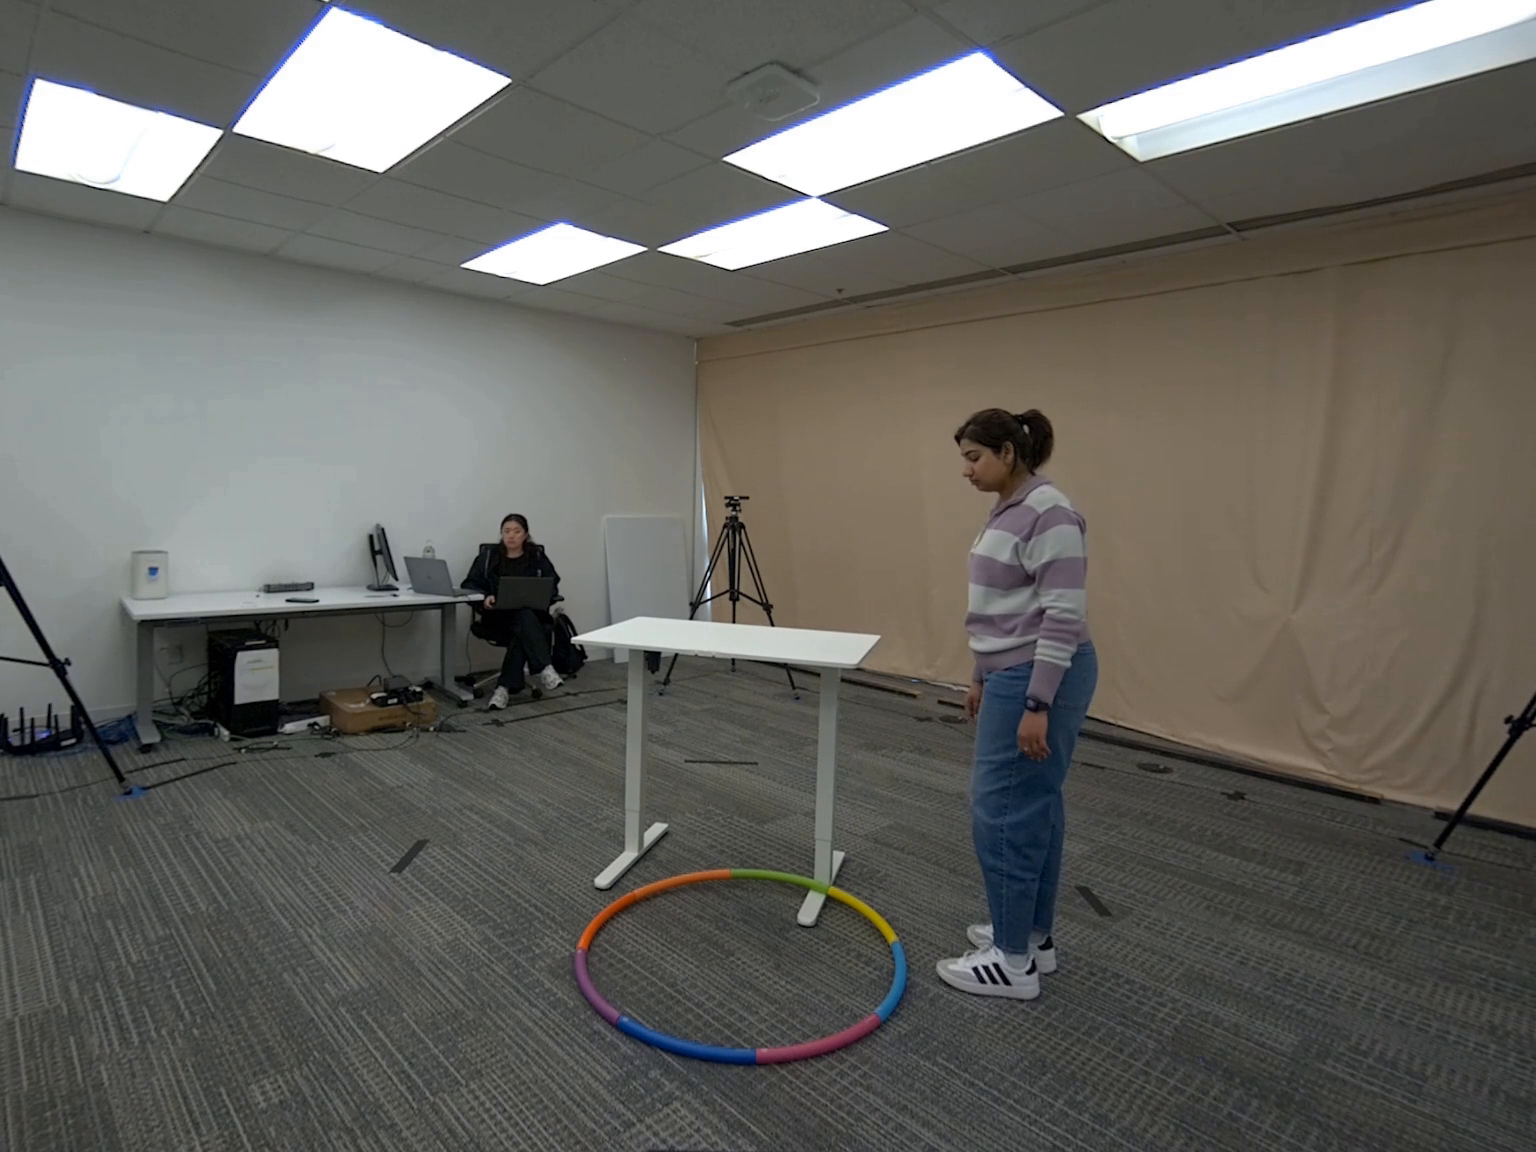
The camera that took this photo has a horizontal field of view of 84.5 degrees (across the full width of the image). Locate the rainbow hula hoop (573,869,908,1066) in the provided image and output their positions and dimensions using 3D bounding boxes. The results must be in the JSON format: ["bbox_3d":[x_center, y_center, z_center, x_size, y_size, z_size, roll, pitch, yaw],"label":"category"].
[{"bbox_3d":[-0.089,1.126,2.541,0.978,0.035,0.983,0,7,-1],"label":"rainbow hula hoop"}]
